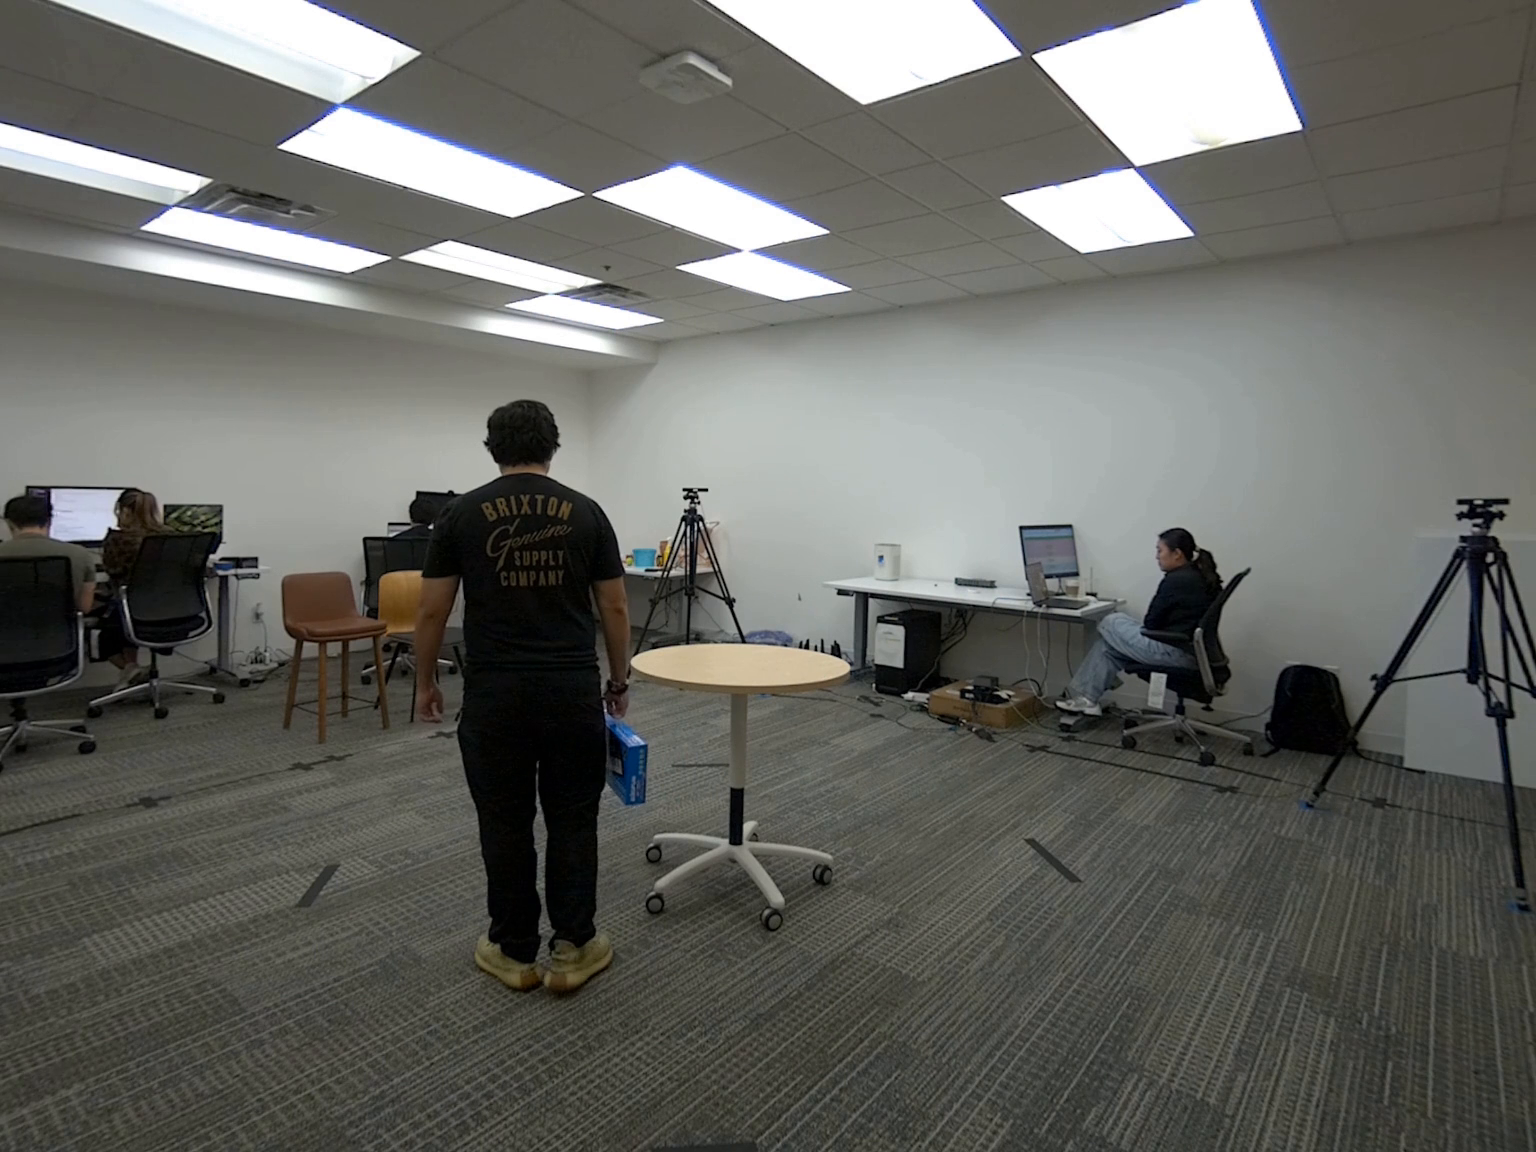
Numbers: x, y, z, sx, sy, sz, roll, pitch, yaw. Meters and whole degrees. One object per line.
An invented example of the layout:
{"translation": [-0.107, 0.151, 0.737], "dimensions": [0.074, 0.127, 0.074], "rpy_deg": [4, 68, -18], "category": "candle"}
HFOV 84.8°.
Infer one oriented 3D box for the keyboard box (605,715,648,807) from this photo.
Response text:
{"translation": [-0.473, 0.528, 2.560], "dimensions": [0.057, 0.175, 0.450], "rpy_deg": [1, 6, -27], "category": "keyboard box"}
